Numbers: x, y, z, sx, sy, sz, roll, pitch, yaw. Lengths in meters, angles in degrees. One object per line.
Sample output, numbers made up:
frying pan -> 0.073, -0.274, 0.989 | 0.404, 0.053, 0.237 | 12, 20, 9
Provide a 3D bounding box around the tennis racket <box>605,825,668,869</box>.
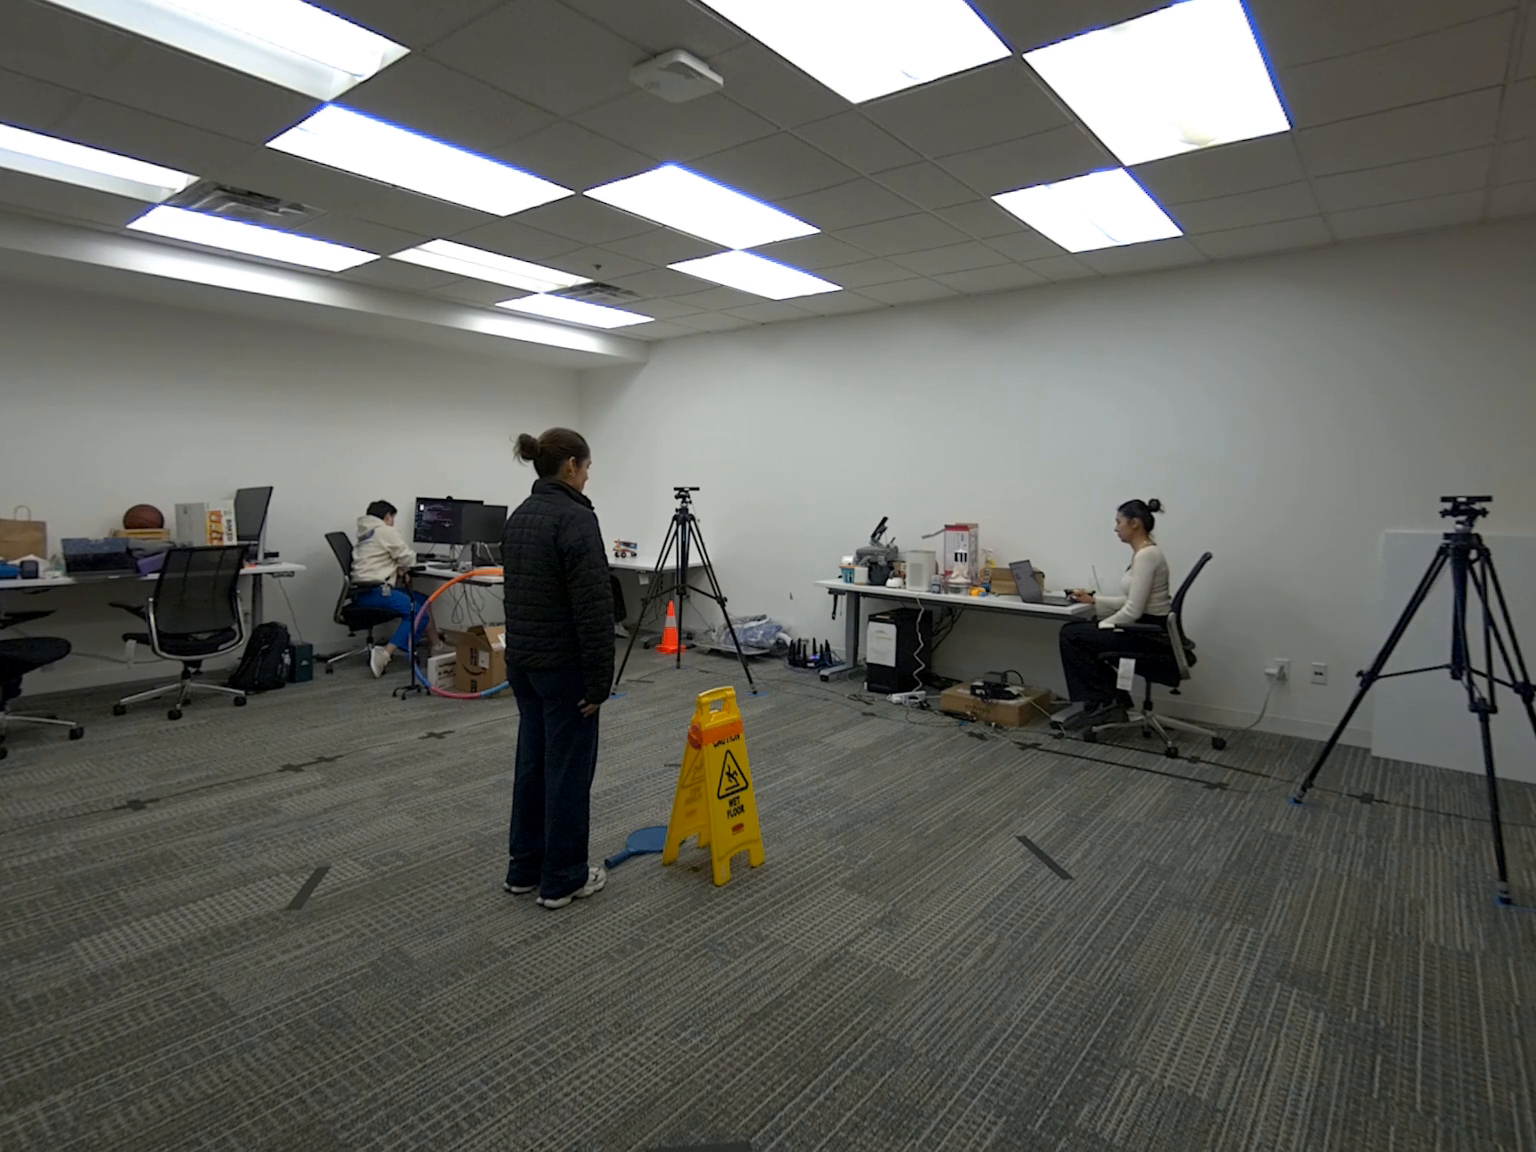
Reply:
tennis racket -> -0.463, 1.032, 3.294 | 0.220, 0.032, 0.422 | 3, 4, 27
